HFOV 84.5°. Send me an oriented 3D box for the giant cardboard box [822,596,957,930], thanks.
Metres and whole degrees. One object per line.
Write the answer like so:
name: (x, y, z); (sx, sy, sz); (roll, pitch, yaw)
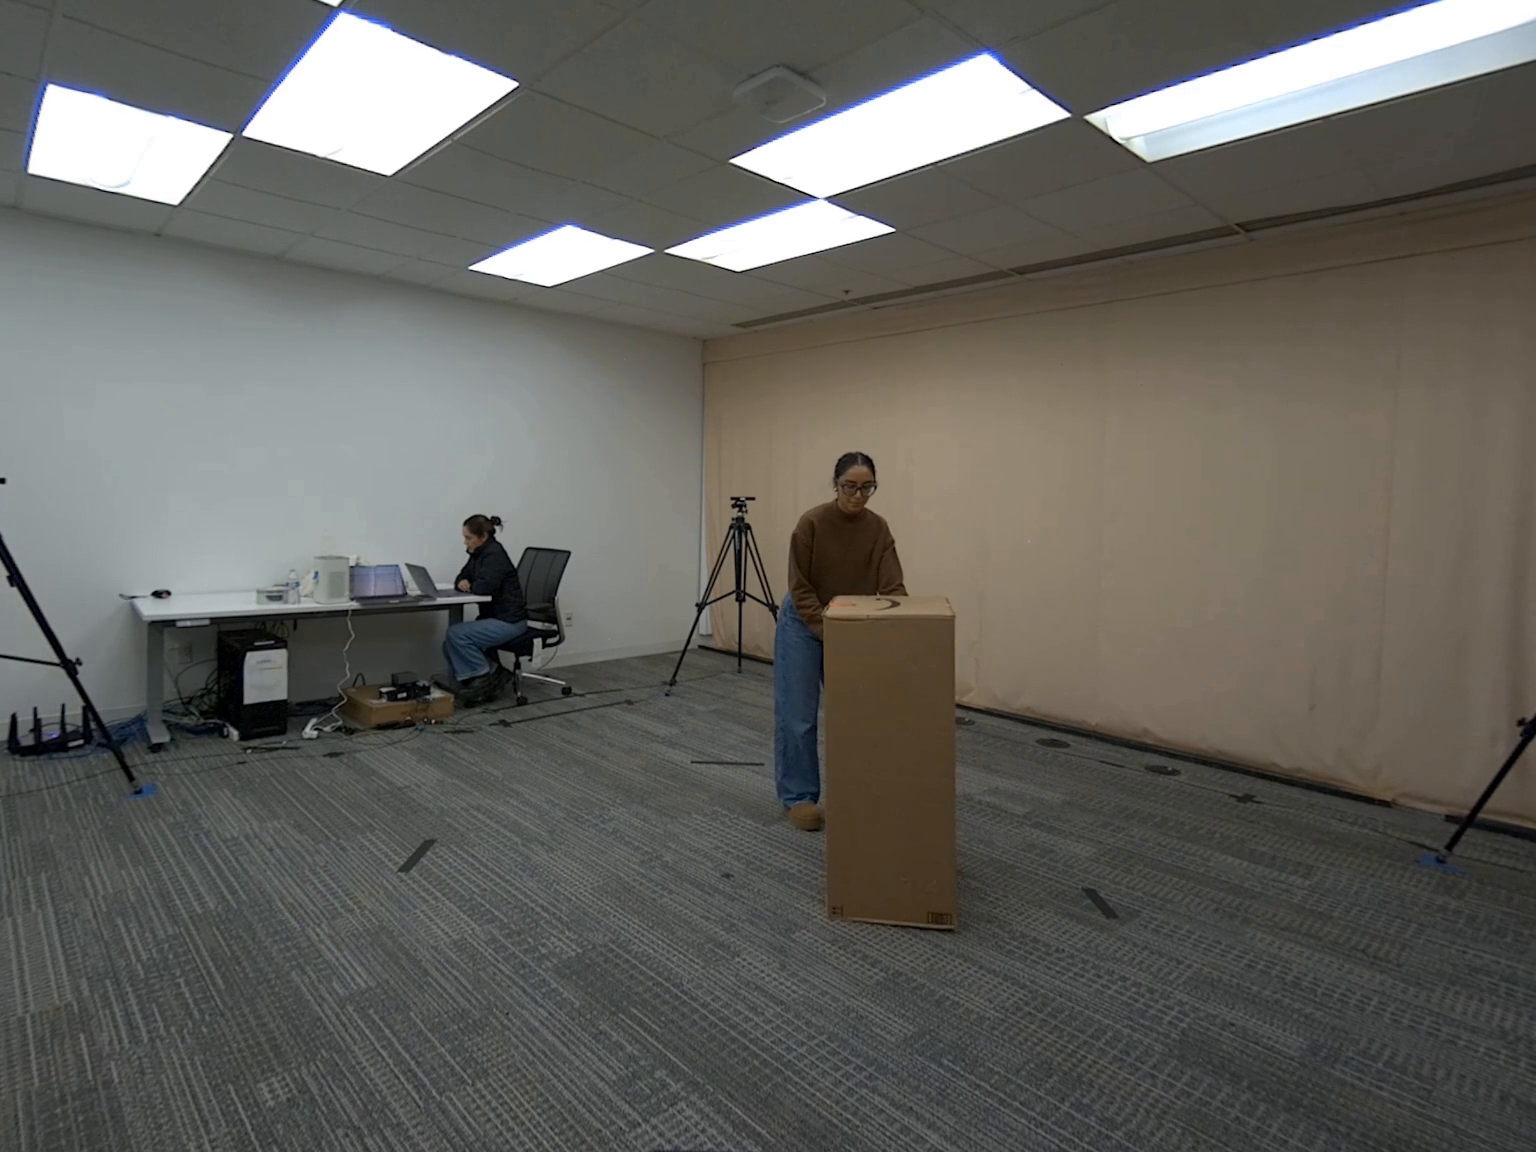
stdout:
giant cardboard box: (0.428, 0.613, 3.016); (0.430, 1.024, 0.573); (0, 2, 10)
